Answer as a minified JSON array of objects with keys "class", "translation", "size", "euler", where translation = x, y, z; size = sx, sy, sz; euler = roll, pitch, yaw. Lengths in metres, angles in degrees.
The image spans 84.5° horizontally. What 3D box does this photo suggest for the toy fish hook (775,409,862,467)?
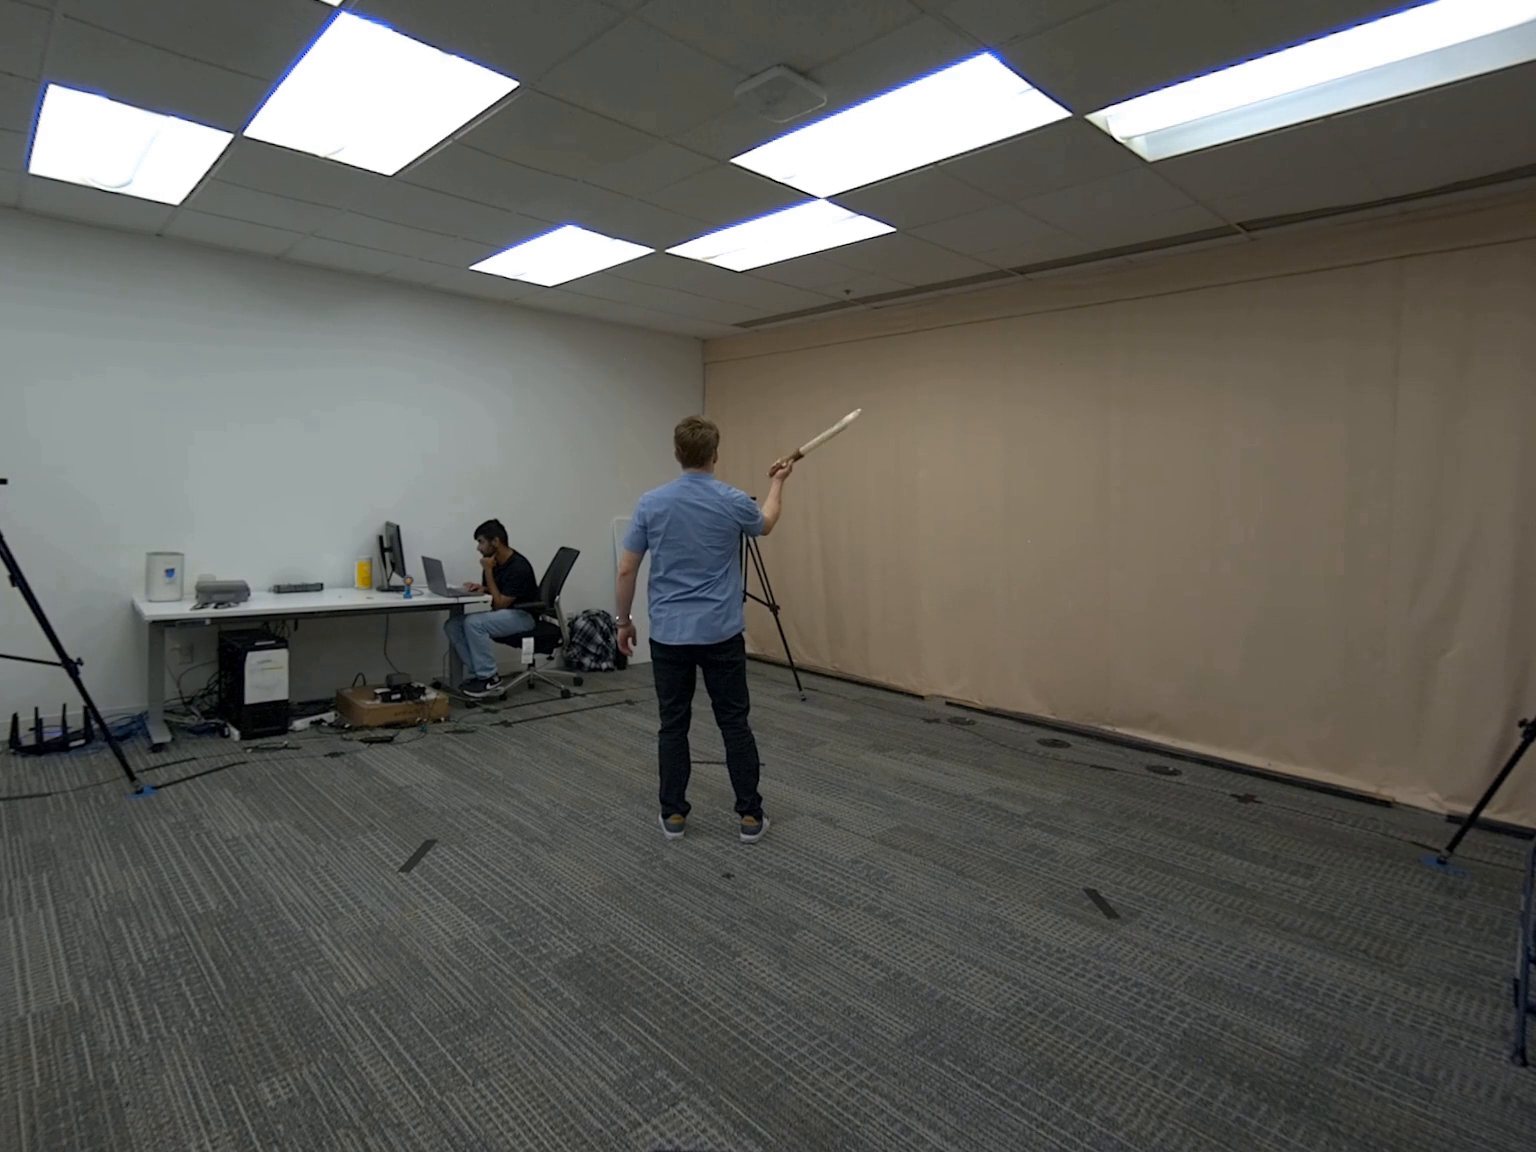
[{"class":"toy fish hook","translation":[0.190,-0.583,3.811],"size":[0.509,0.048,0.224],"euler":[-32,5,25]}]
